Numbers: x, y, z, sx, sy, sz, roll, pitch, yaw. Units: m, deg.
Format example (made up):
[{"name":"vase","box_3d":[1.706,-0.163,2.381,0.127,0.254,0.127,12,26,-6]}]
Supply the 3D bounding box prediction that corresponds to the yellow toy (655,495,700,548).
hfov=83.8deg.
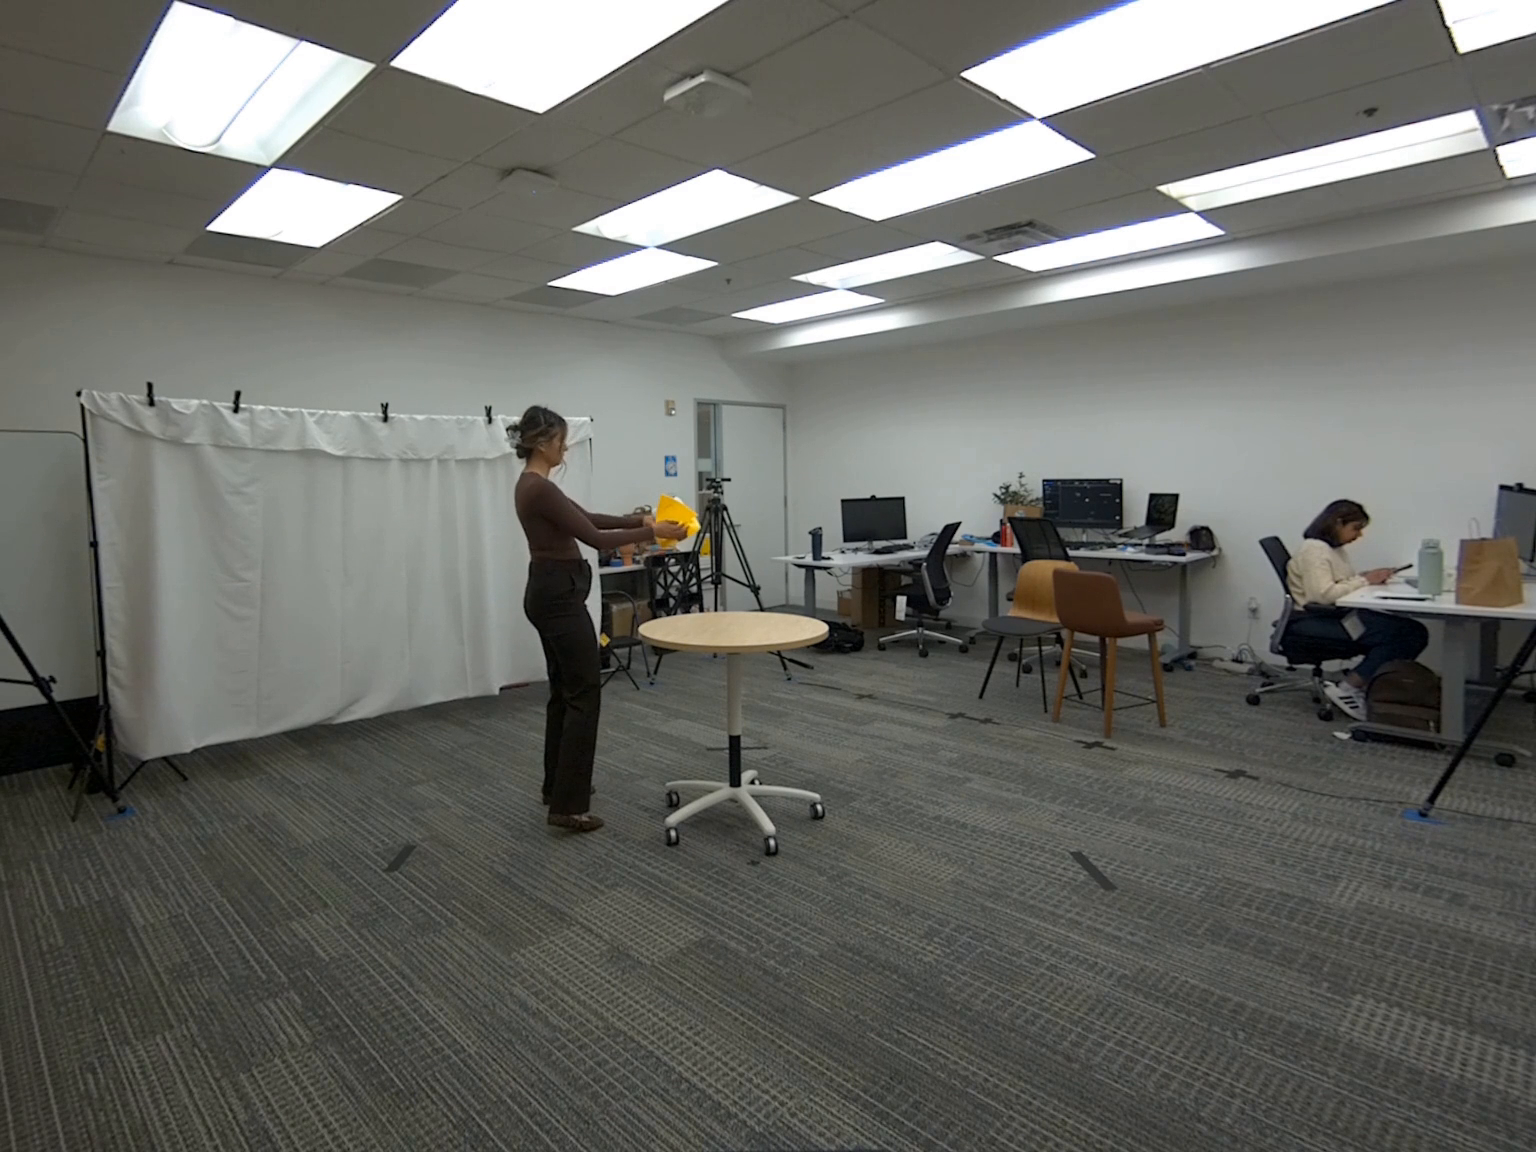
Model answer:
[{"name":"yellow toy","box_3d":[-0.434,-0.268,3.765,0.204,0.226,0.197,-28,17,-8]}]
